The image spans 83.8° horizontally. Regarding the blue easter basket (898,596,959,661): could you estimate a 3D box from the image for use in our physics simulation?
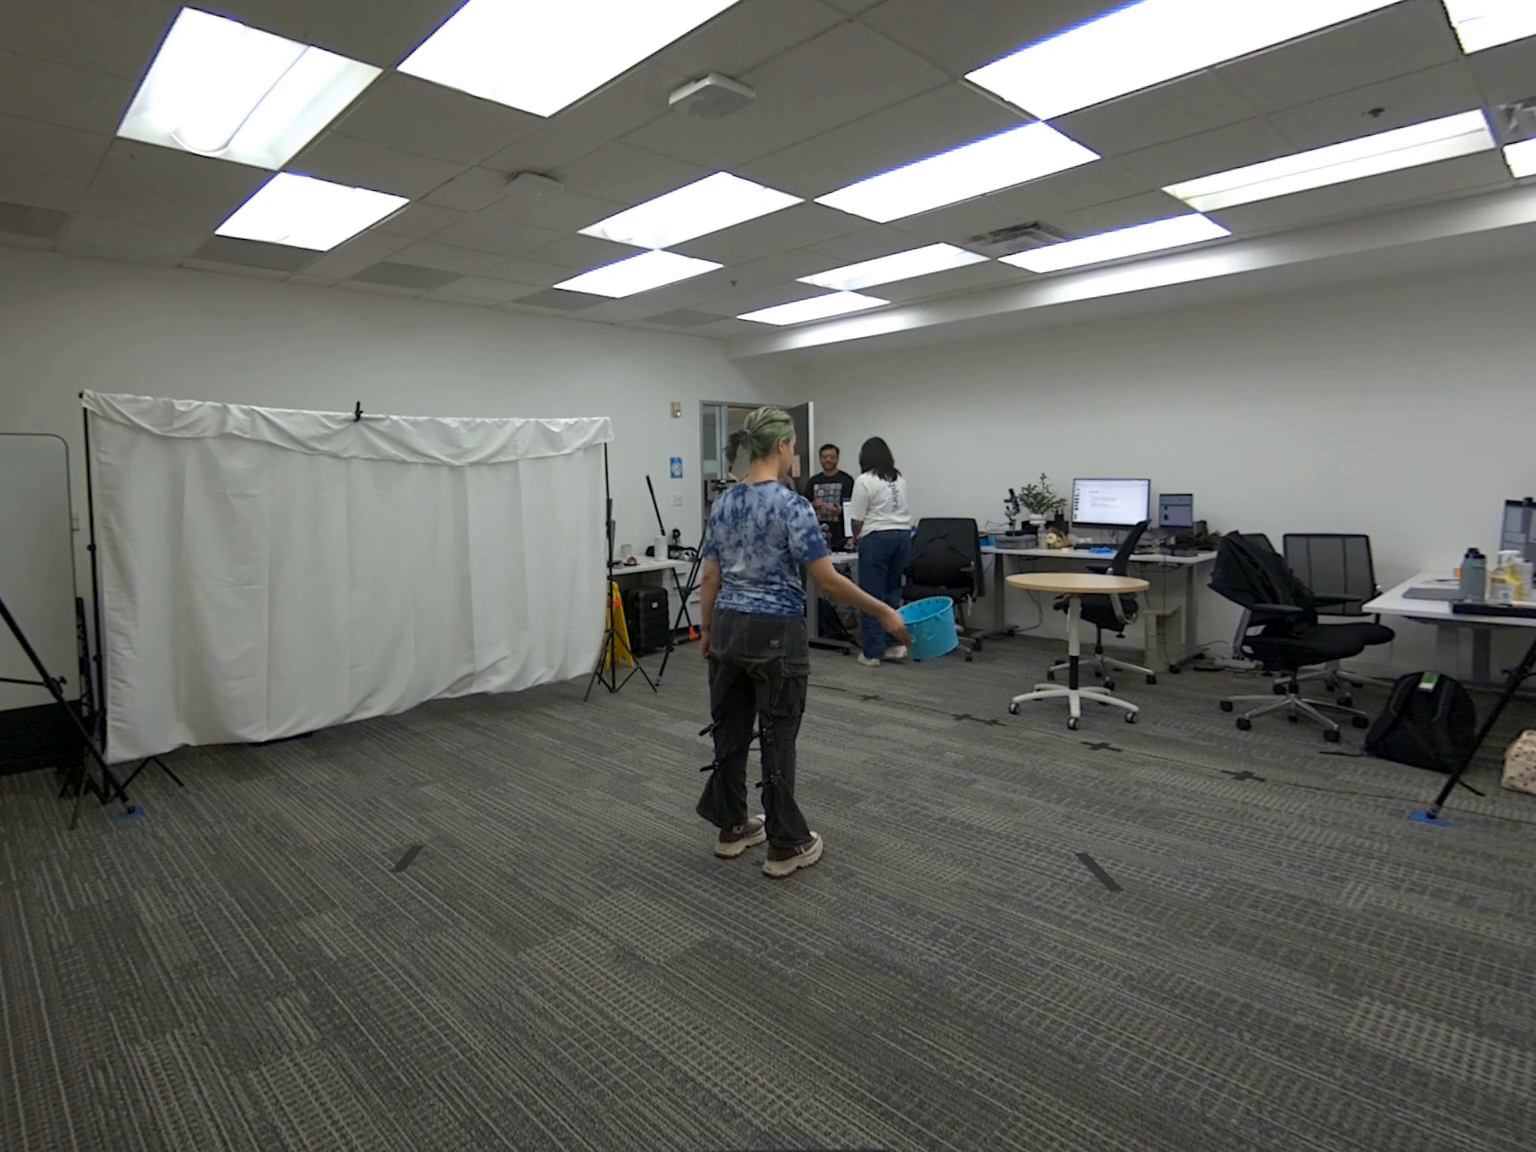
[{"bbox_3d":[0.571,0.186,3.088,0.244,0.154,0.246,-22,11,2],"label":"blue easter basket"}]
